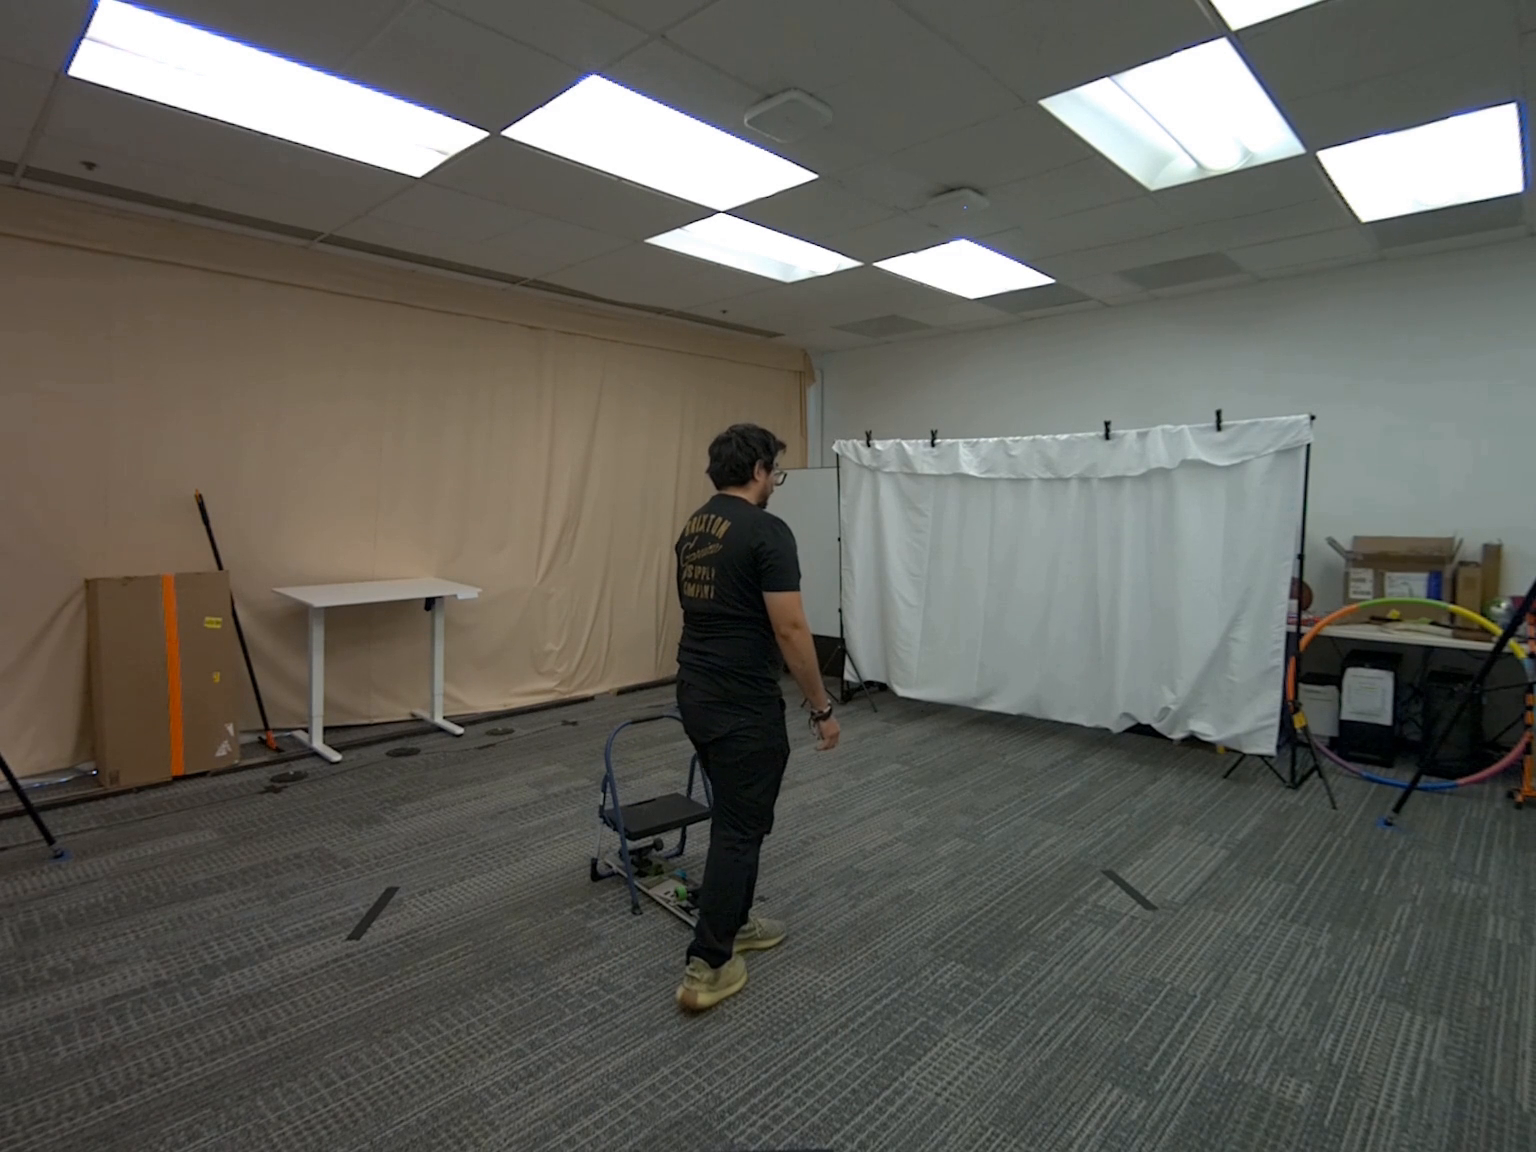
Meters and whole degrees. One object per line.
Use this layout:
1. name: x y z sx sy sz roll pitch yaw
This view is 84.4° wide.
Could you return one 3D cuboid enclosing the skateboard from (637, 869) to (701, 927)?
1. skateboard: -0.366 1.093 3.038 0.187 0.110 0.811 -2 5 -38
